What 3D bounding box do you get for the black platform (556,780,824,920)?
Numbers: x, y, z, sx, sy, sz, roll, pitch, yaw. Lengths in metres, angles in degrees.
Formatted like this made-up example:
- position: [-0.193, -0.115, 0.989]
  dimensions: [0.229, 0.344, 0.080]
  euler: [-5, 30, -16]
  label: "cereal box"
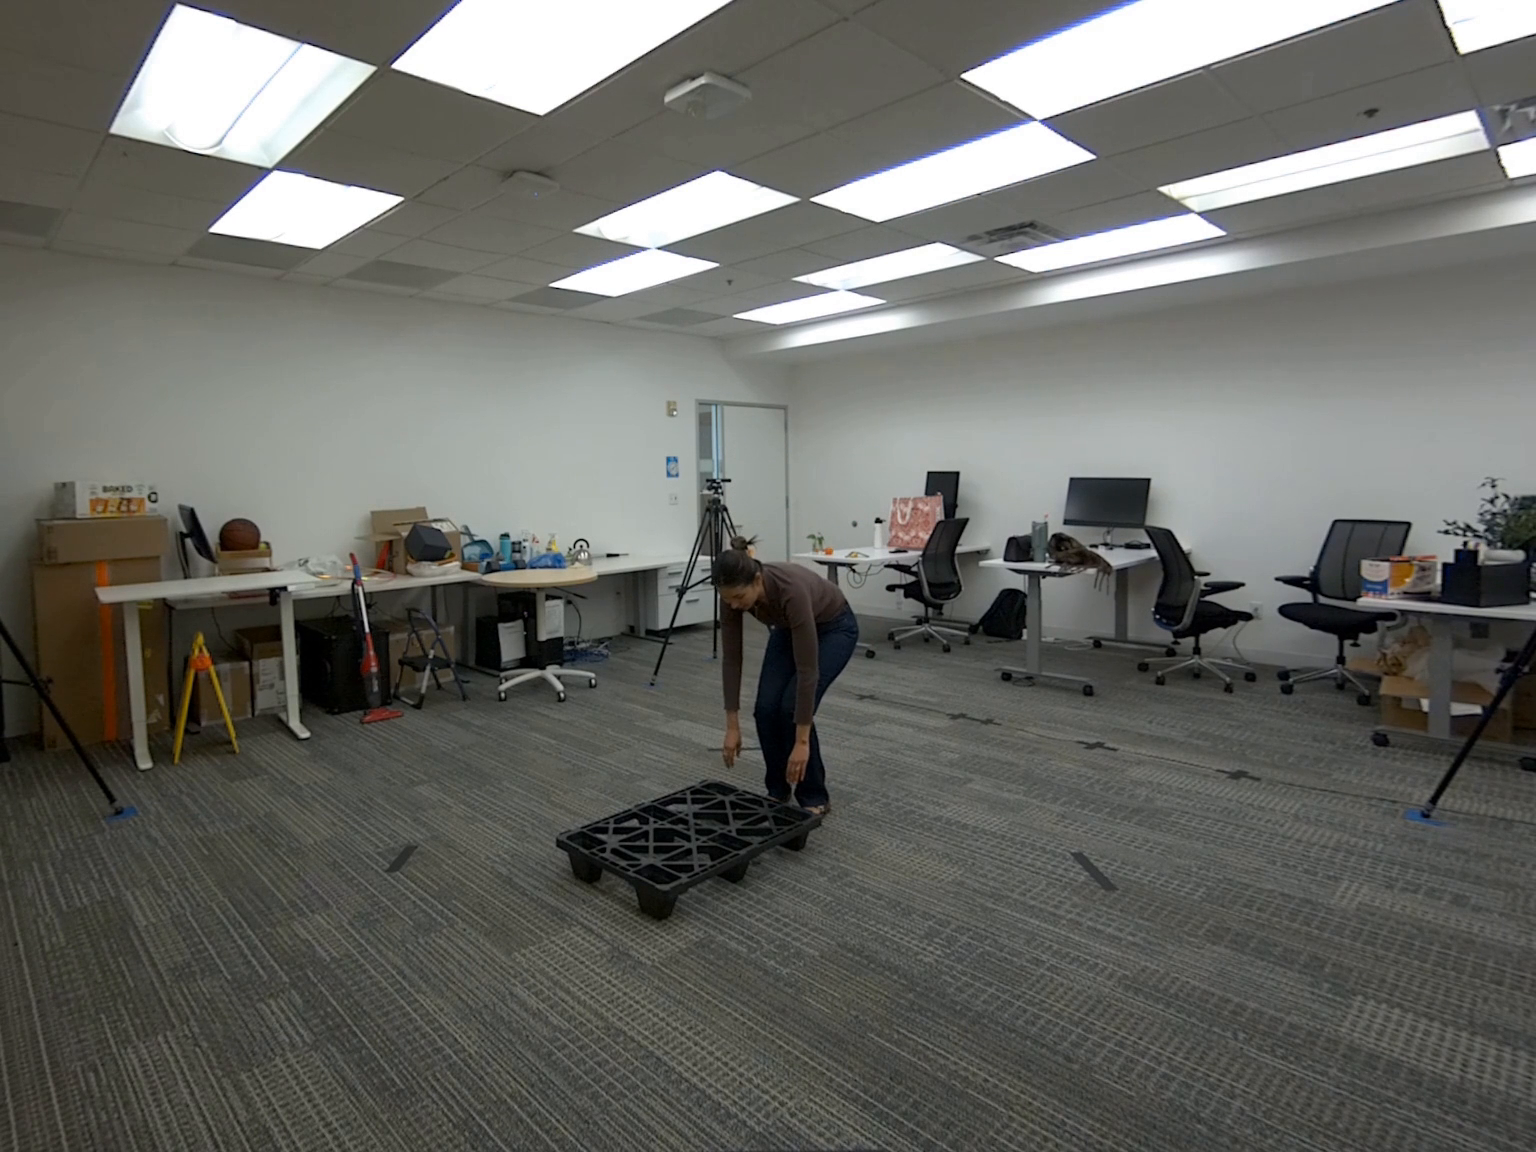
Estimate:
- position: [-0.269, 0.979, 3.130]
  dimensions: [0.624, 0.142, 0.785]
  euler: [6, 10, 42]
  label: "black platform"
